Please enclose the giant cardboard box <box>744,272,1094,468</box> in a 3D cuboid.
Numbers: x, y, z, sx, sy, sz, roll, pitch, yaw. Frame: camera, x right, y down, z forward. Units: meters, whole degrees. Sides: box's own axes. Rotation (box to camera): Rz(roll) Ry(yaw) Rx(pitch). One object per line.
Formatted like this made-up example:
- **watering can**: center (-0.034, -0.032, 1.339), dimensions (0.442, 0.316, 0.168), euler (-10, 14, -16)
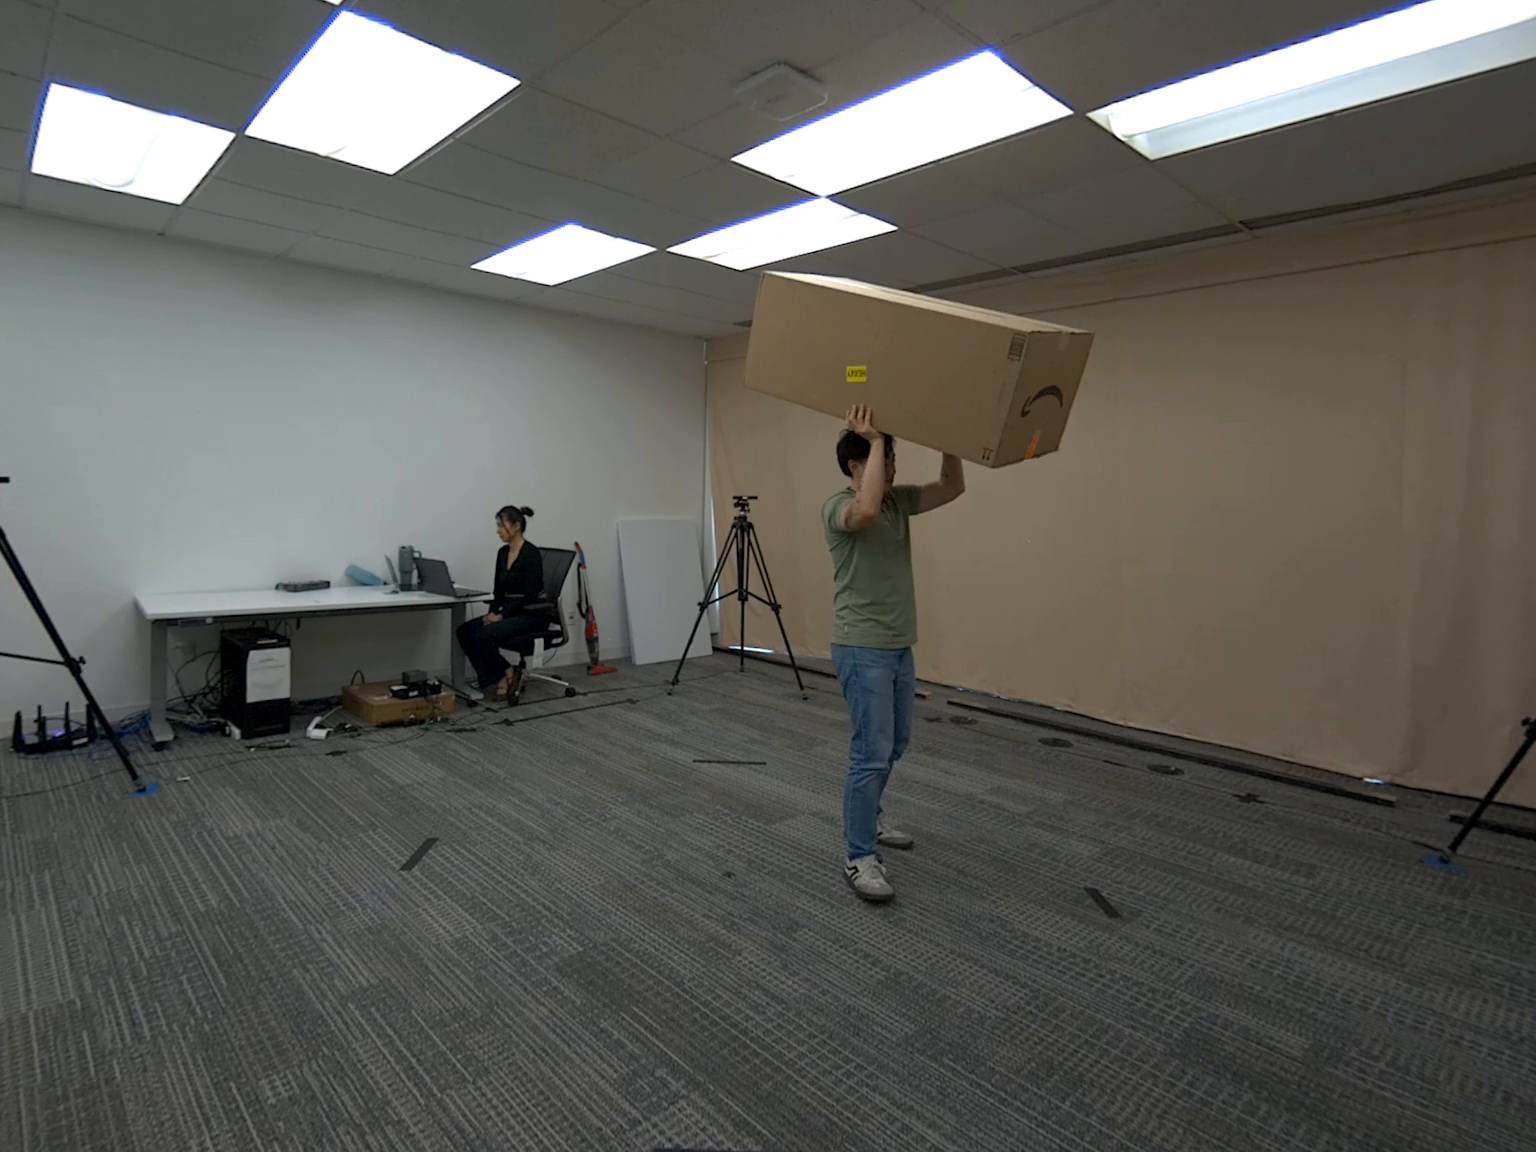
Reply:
- **giant cardboard box**: center (0.500, -0.764, 3.013), dimensions (1.055, 0.421, 0.568), euler (26, 26, 33)
